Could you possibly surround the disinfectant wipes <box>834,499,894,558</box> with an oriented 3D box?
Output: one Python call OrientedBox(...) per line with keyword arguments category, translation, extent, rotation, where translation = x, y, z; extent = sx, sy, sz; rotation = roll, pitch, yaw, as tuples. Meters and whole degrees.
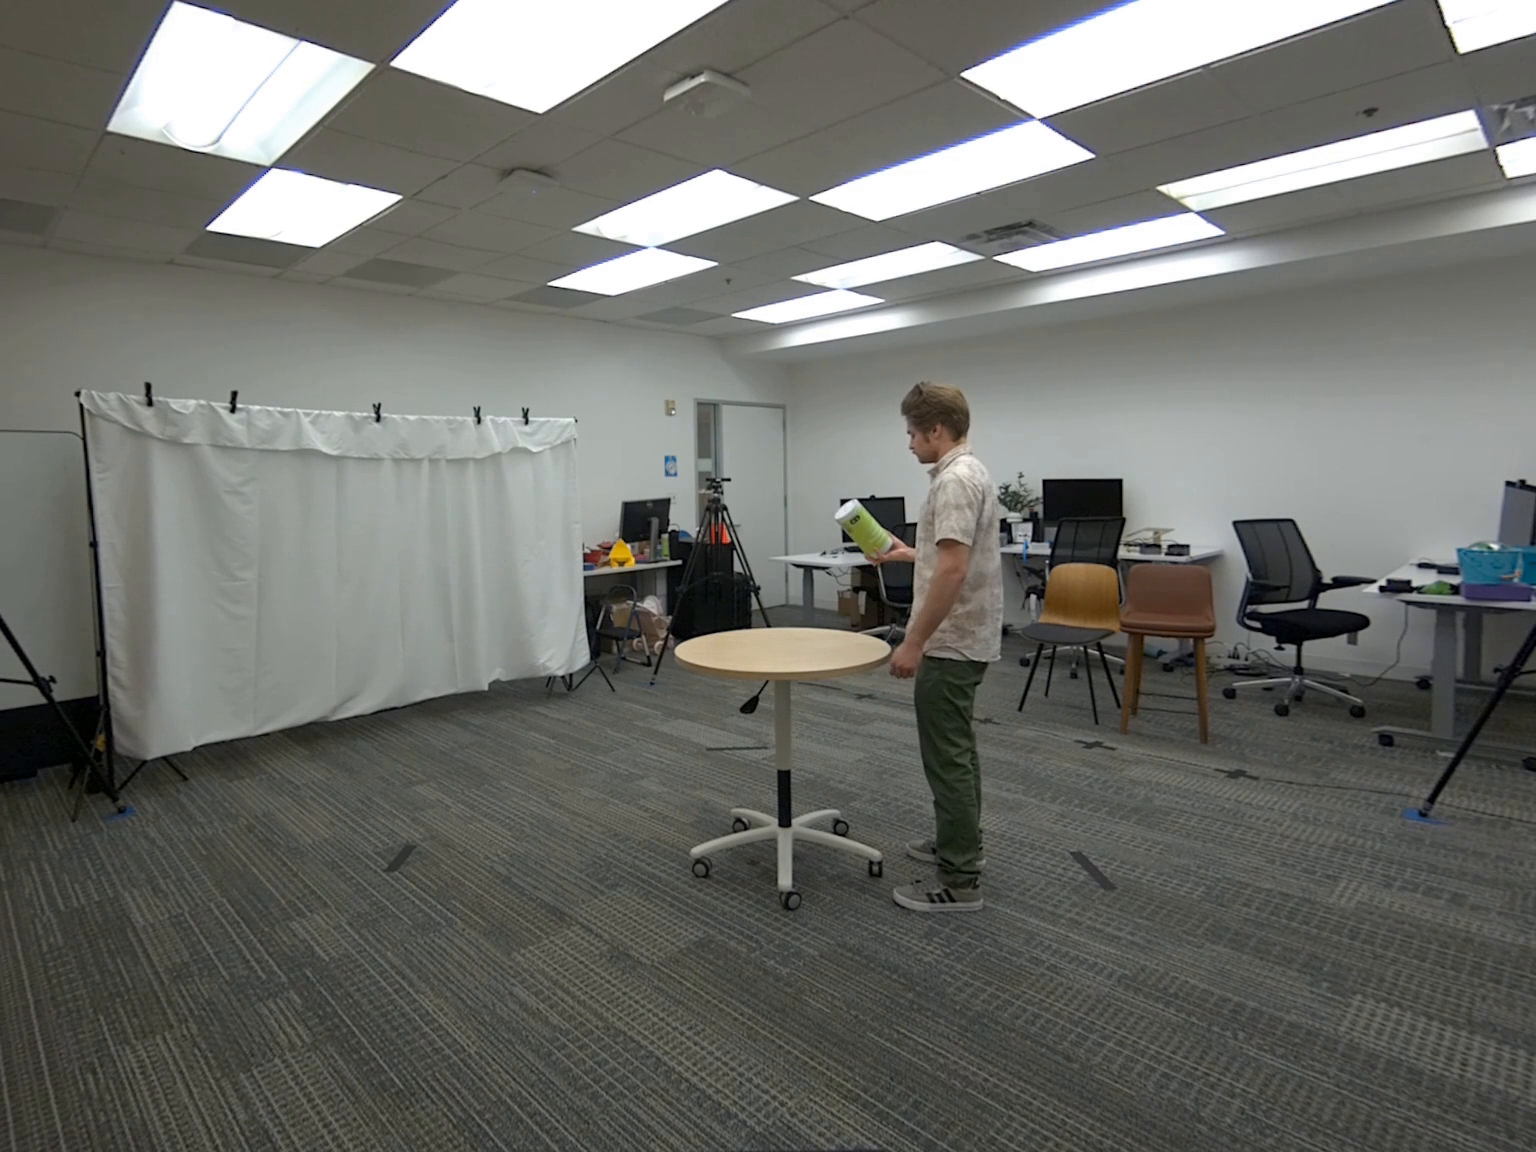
OrientedBox(category="disinfectant wipes", translation=(0.357, -0.175, 3.173), extent=(0.118, 0.213, 0.120), rotation=(-40, 15, 11))
